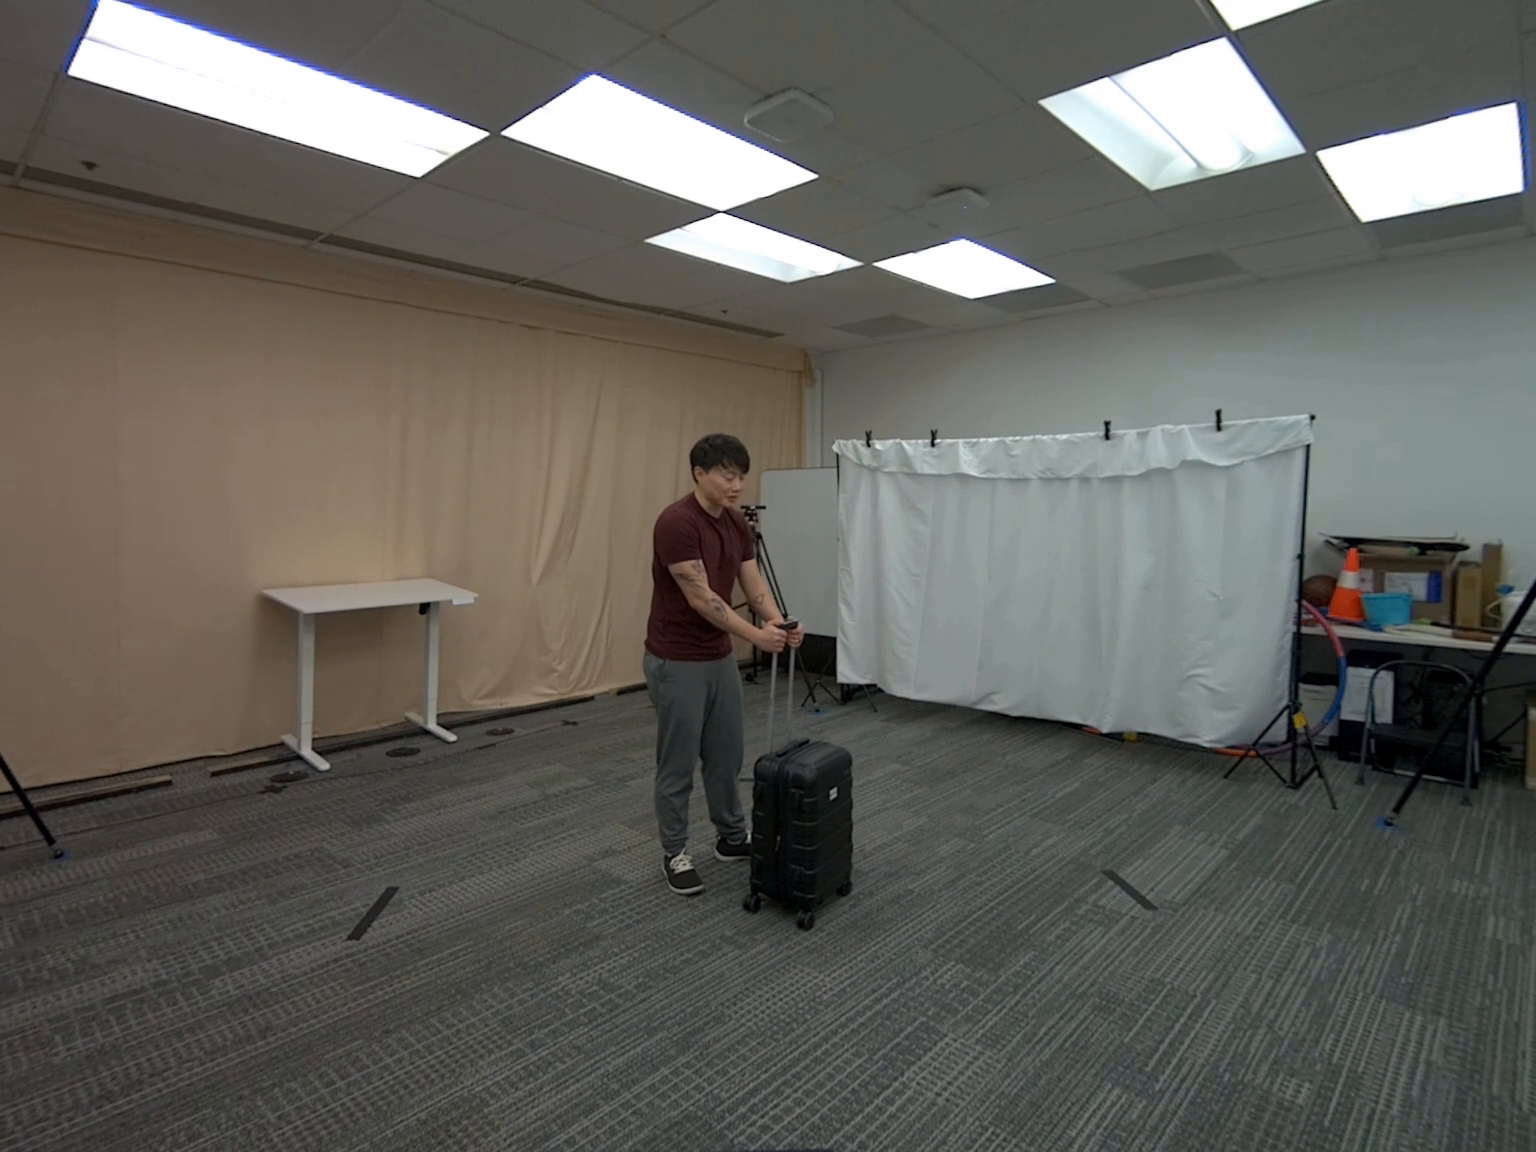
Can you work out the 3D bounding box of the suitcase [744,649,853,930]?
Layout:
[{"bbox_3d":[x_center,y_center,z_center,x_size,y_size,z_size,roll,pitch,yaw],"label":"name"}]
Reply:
[{"bbox_3d":[0.142,0.671,2.944,0.265,0.977,0.373,5,4,31],"label":"suitcase"}]
